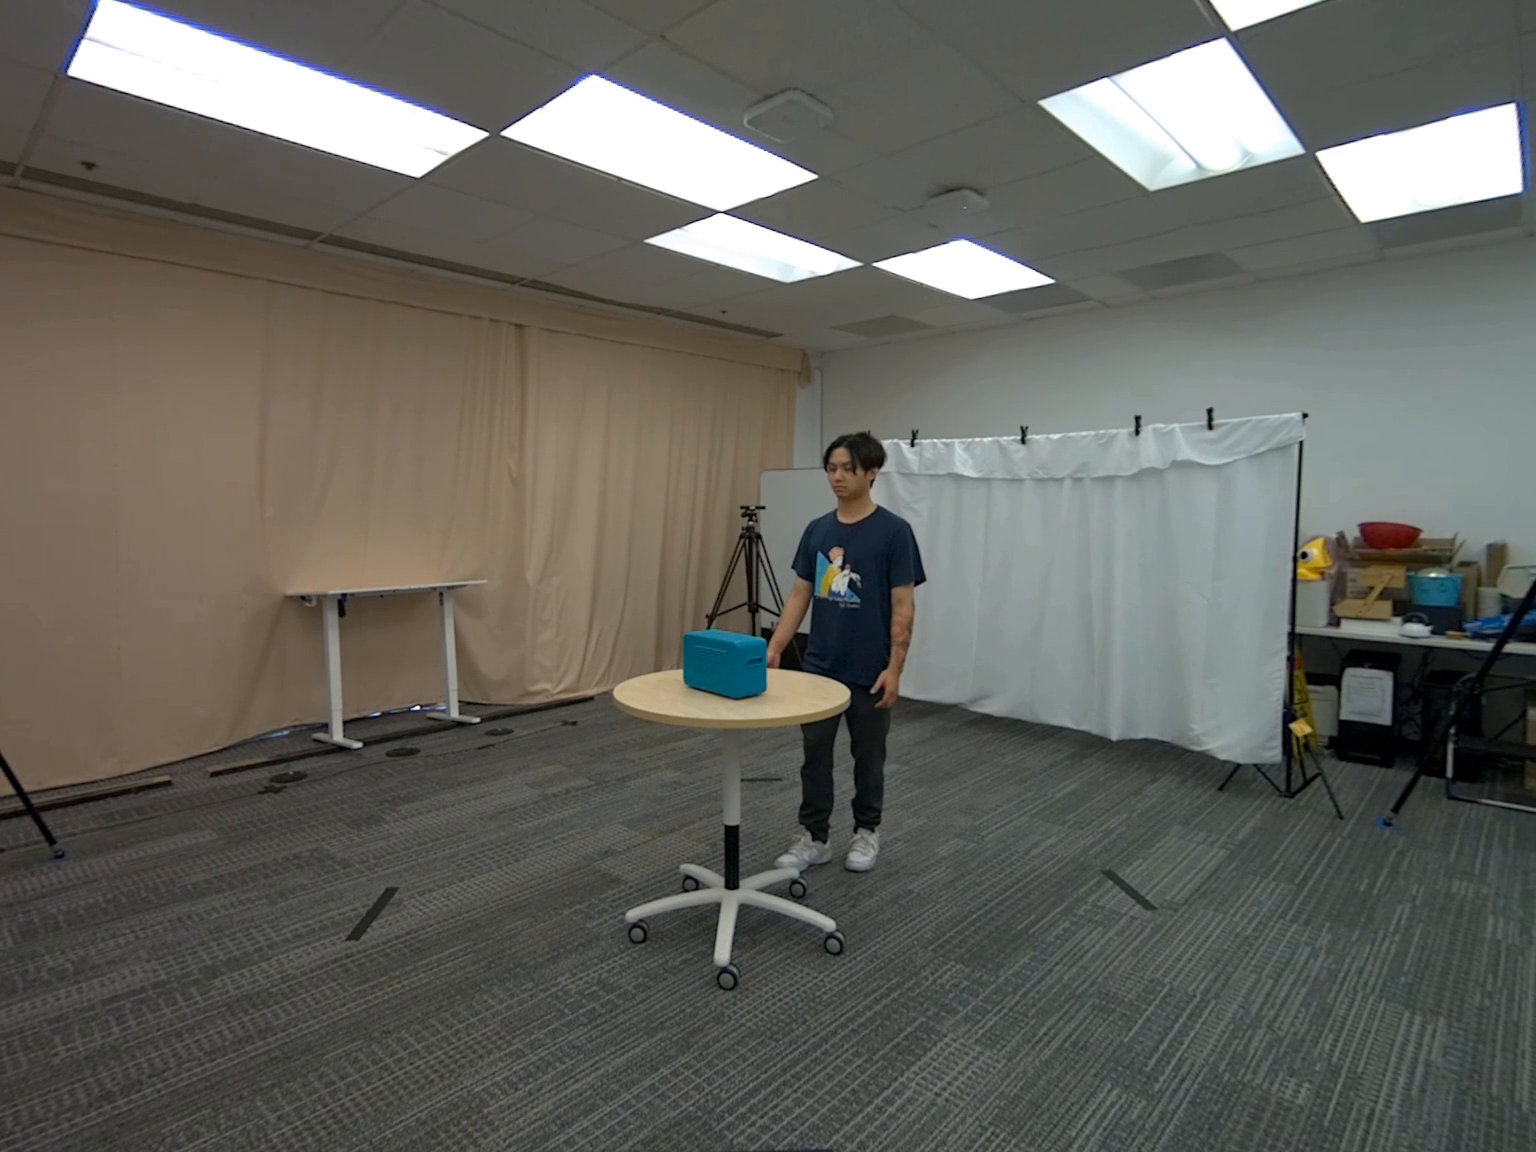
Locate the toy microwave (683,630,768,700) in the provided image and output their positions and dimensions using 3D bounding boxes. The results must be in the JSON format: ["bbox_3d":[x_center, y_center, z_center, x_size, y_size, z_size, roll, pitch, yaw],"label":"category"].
[{"bbox_3d":[-0.129,0.278,2.709,0.148,0.184,0.296,-3,5,-42],"label":"toy microwave"}]
